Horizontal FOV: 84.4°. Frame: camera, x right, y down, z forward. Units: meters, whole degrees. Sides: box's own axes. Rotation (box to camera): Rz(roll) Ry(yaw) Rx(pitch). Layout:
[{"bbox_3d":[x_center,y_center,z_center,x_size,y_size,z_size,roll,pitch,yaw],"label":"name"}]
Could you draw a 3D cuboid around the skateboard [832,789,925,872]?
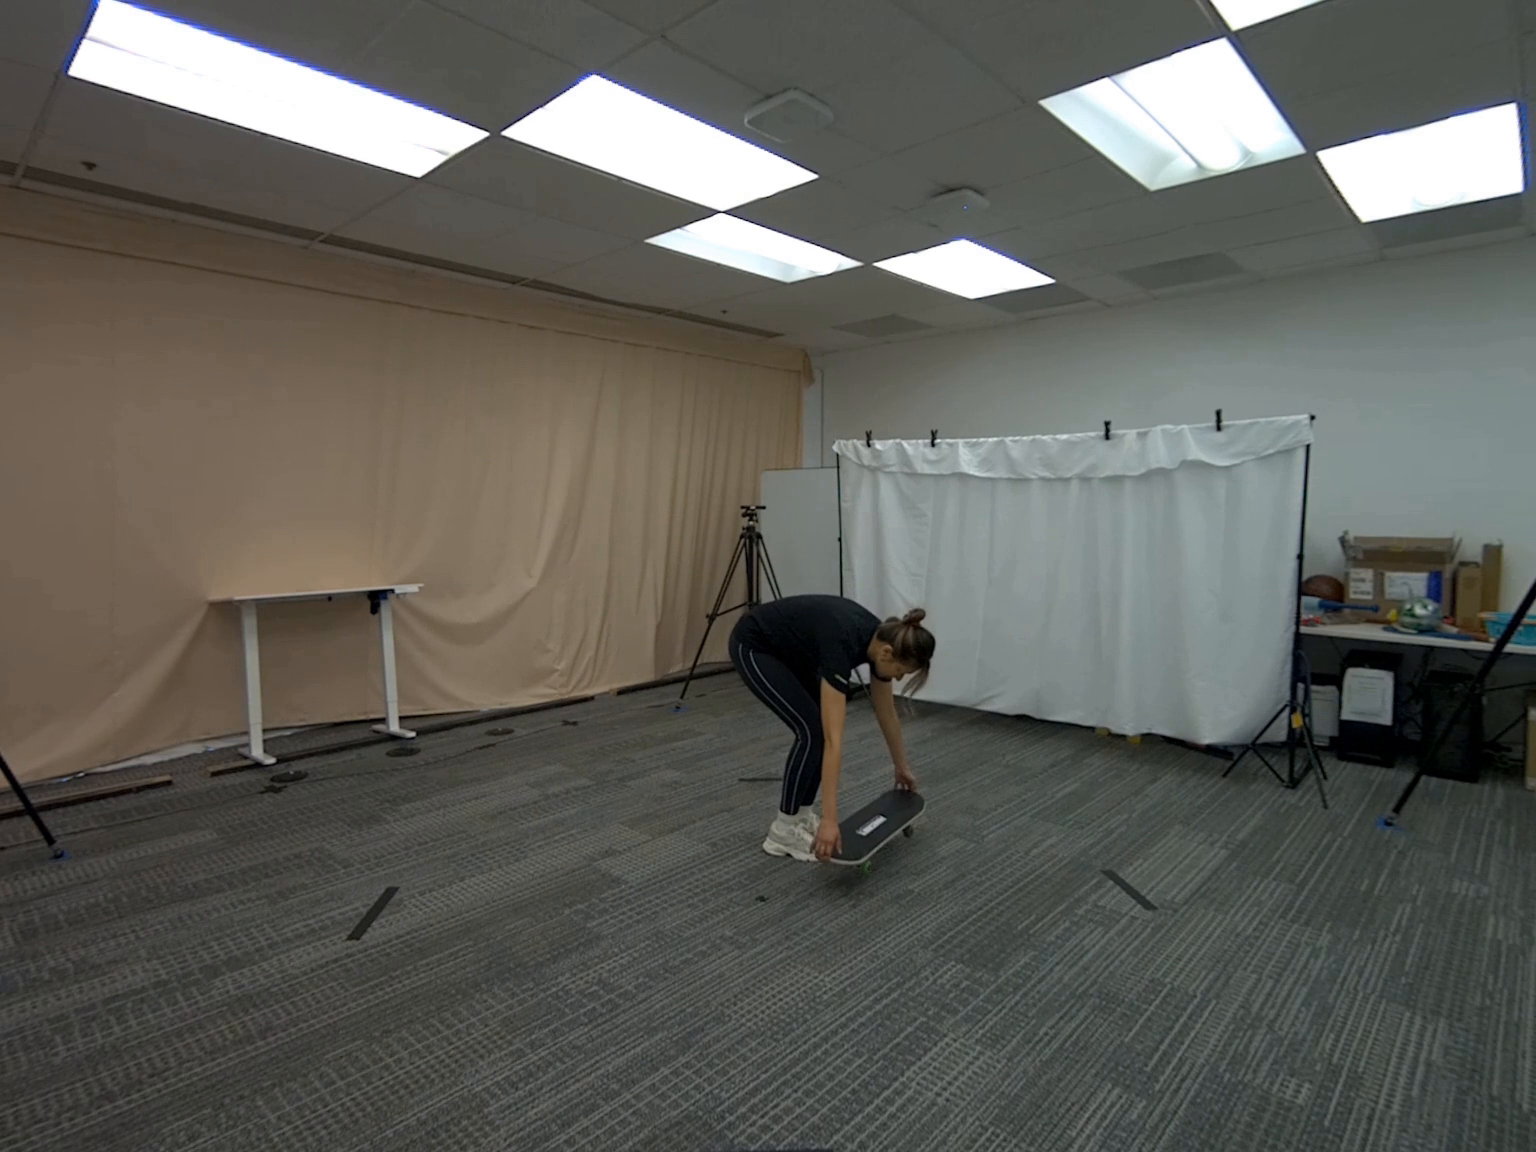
[{"bbox_3d":[0.399,0.989,3.234,0.200,0.110,0.763,9,10,33],"label":"skateboard"}]
